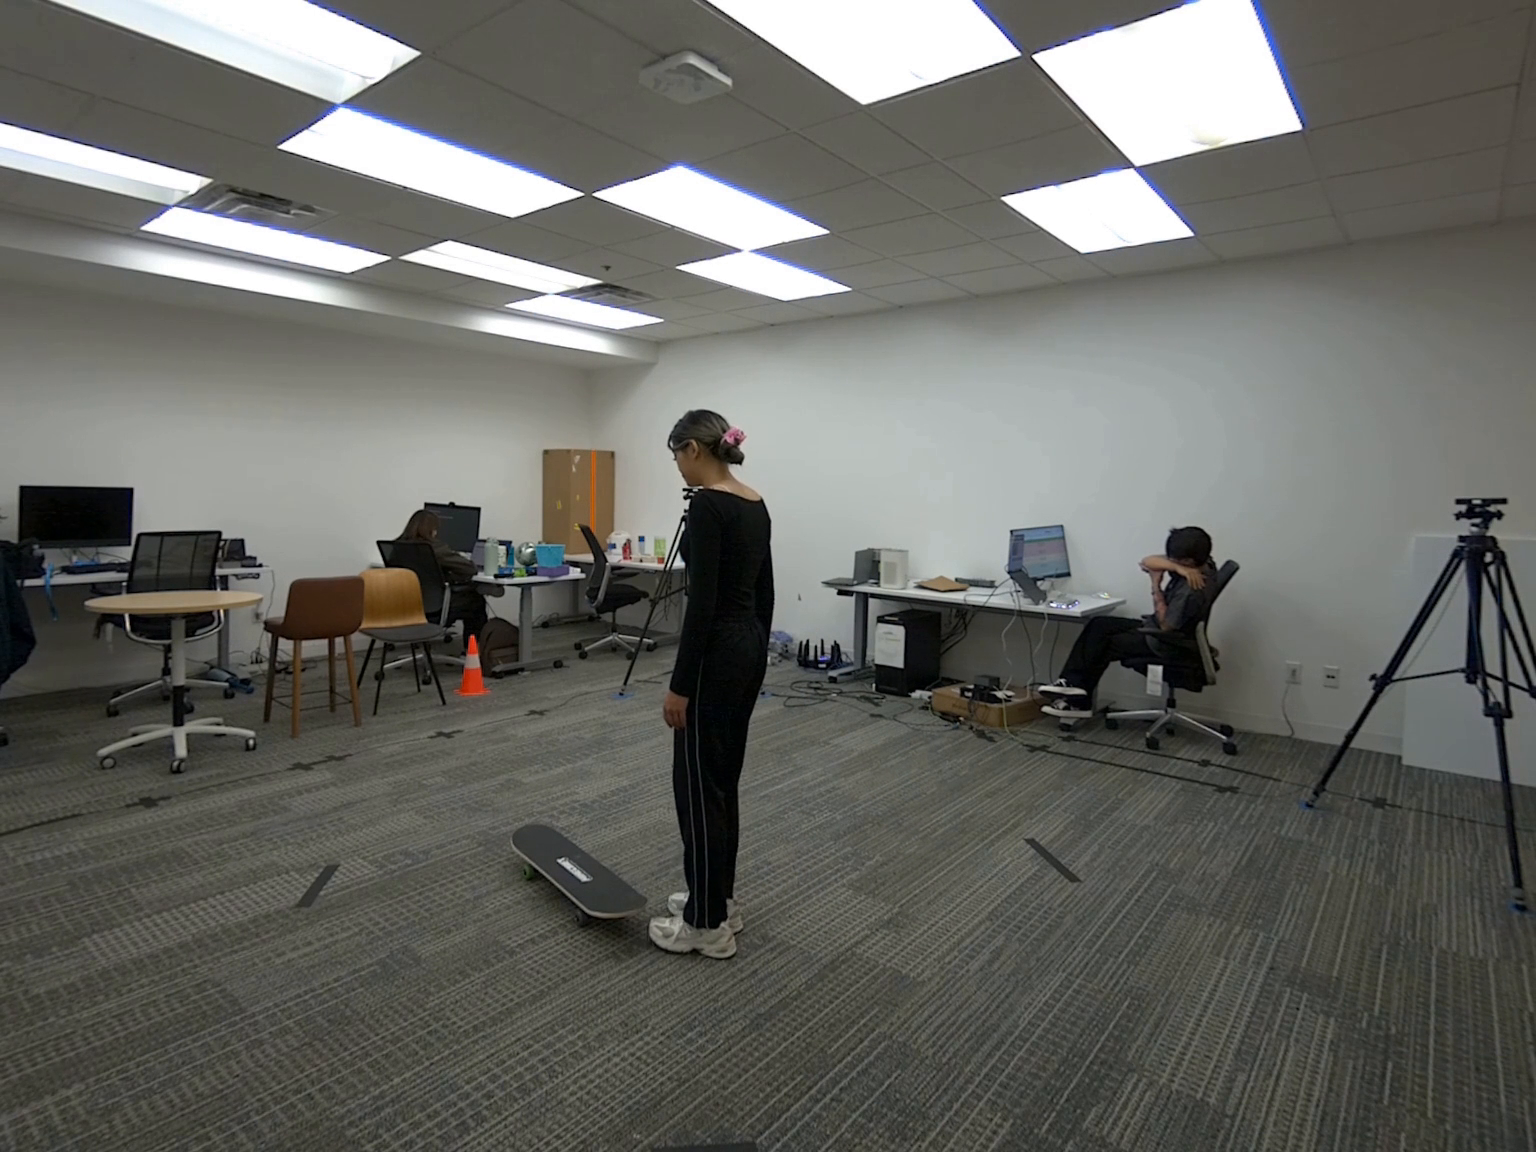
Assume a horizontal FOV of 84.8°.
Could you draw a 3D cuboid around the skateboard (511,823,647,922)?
[{"bbox_3d":[-0.673,1.026,2.885,0.188,0.110,0.812,-3,7,-38],"label":"skateboard"}]
